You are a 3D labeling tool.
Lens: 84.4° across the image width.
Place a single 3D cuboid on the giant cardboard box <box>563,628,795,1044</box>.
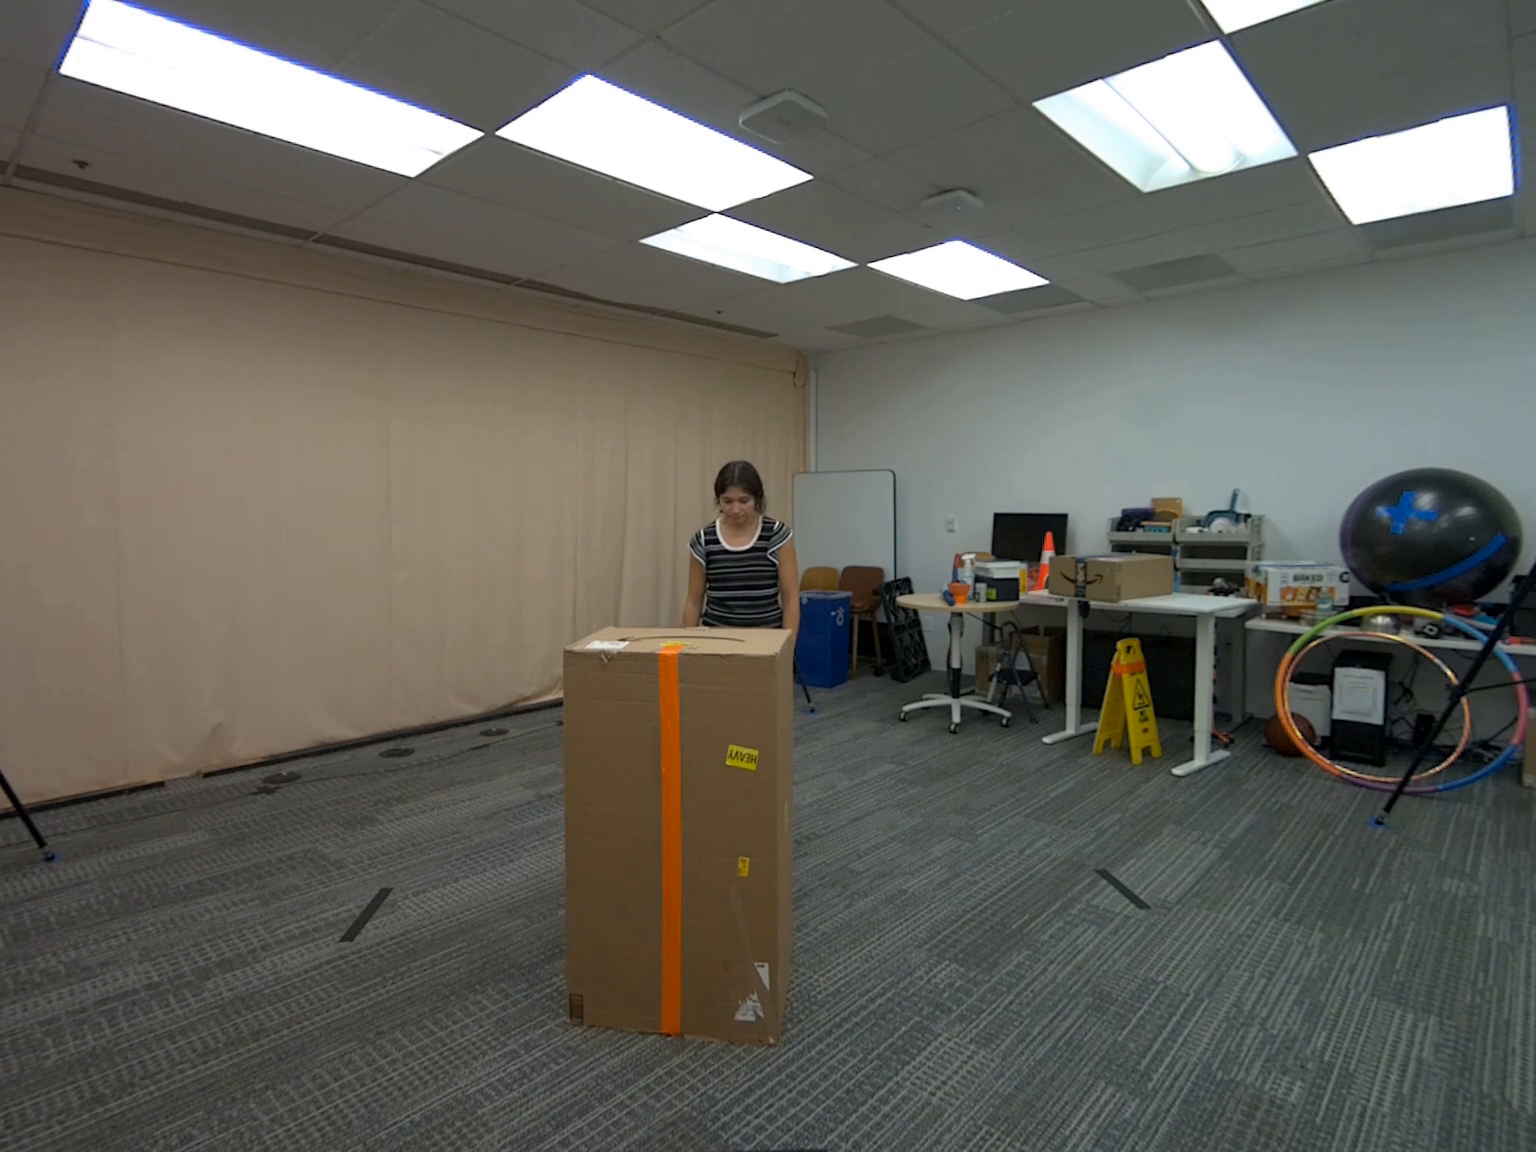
[{"bbox_3d":[-0.233,0.683,2.396,0.584,1.024,0.422,1,3,9],"label":"giant cardboard box"}]
